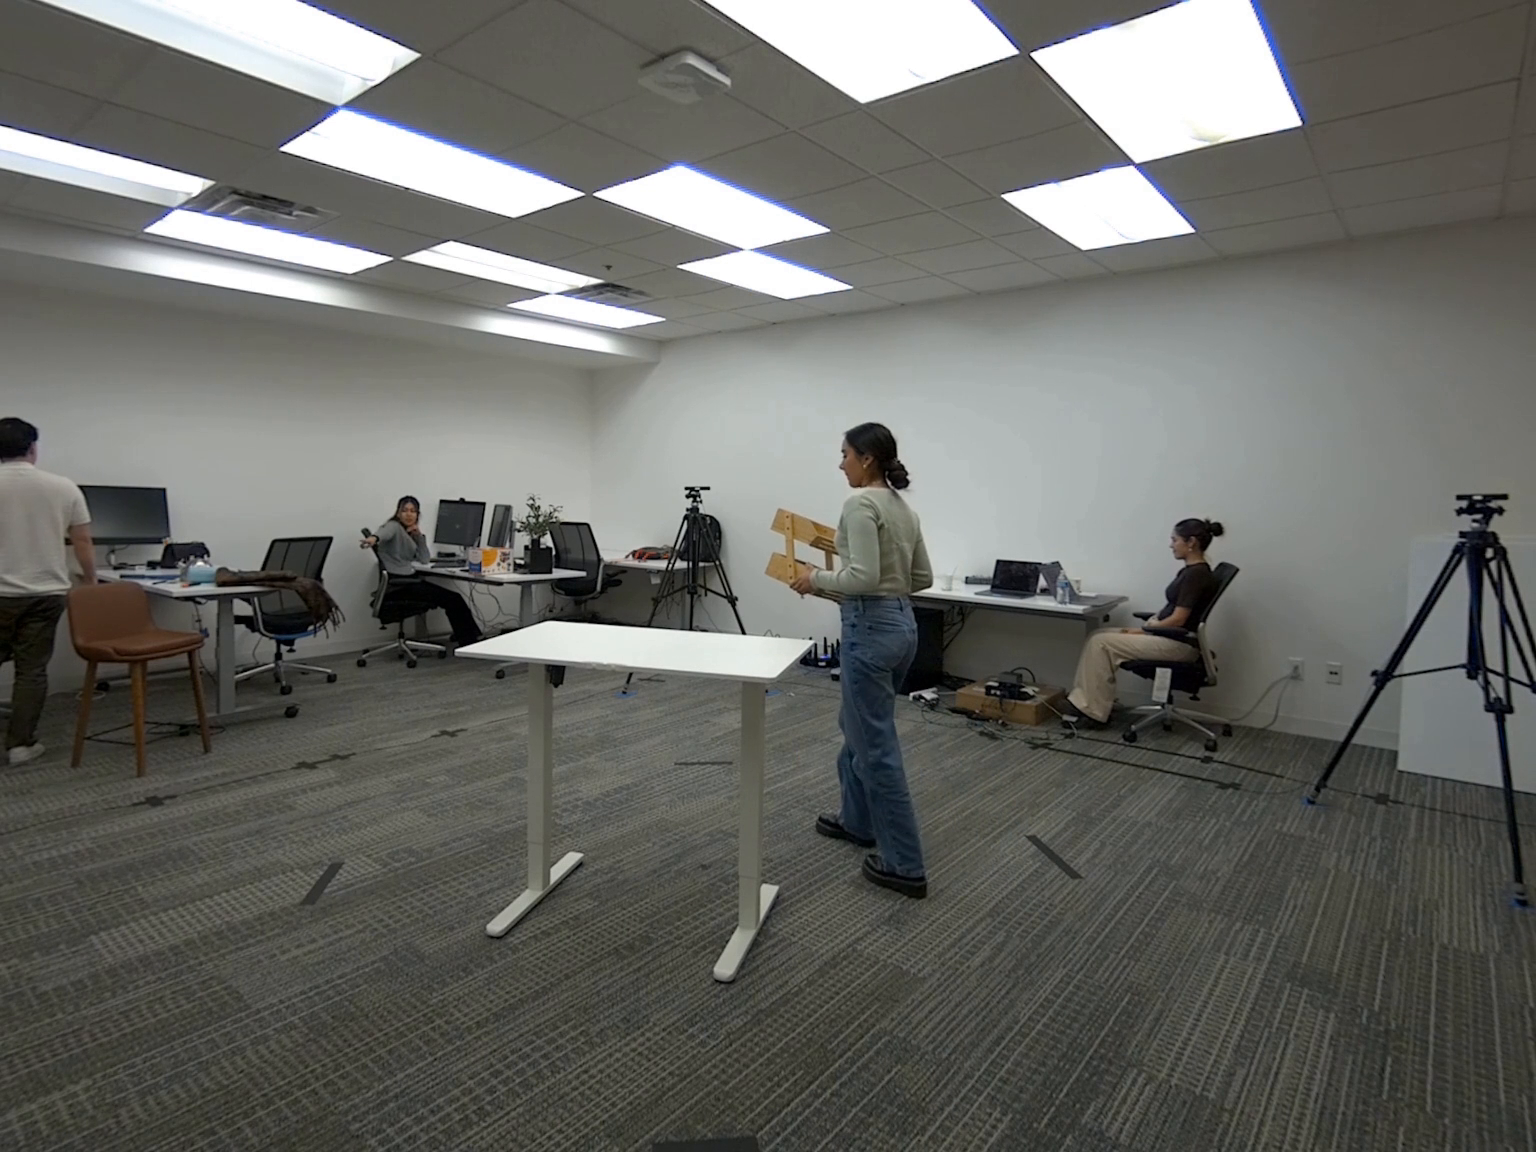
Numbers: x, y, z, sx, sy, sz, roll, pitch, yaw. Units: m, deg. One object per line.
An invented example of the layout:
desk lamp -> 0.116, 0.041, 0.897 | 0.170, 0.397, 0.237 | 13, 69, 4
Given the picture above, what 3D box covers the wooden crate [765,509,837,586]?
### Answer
wooden crate -> 0.180, -0.081, 3.339 | 0.314, 0.273, 0.313 | 23, 4, 34
